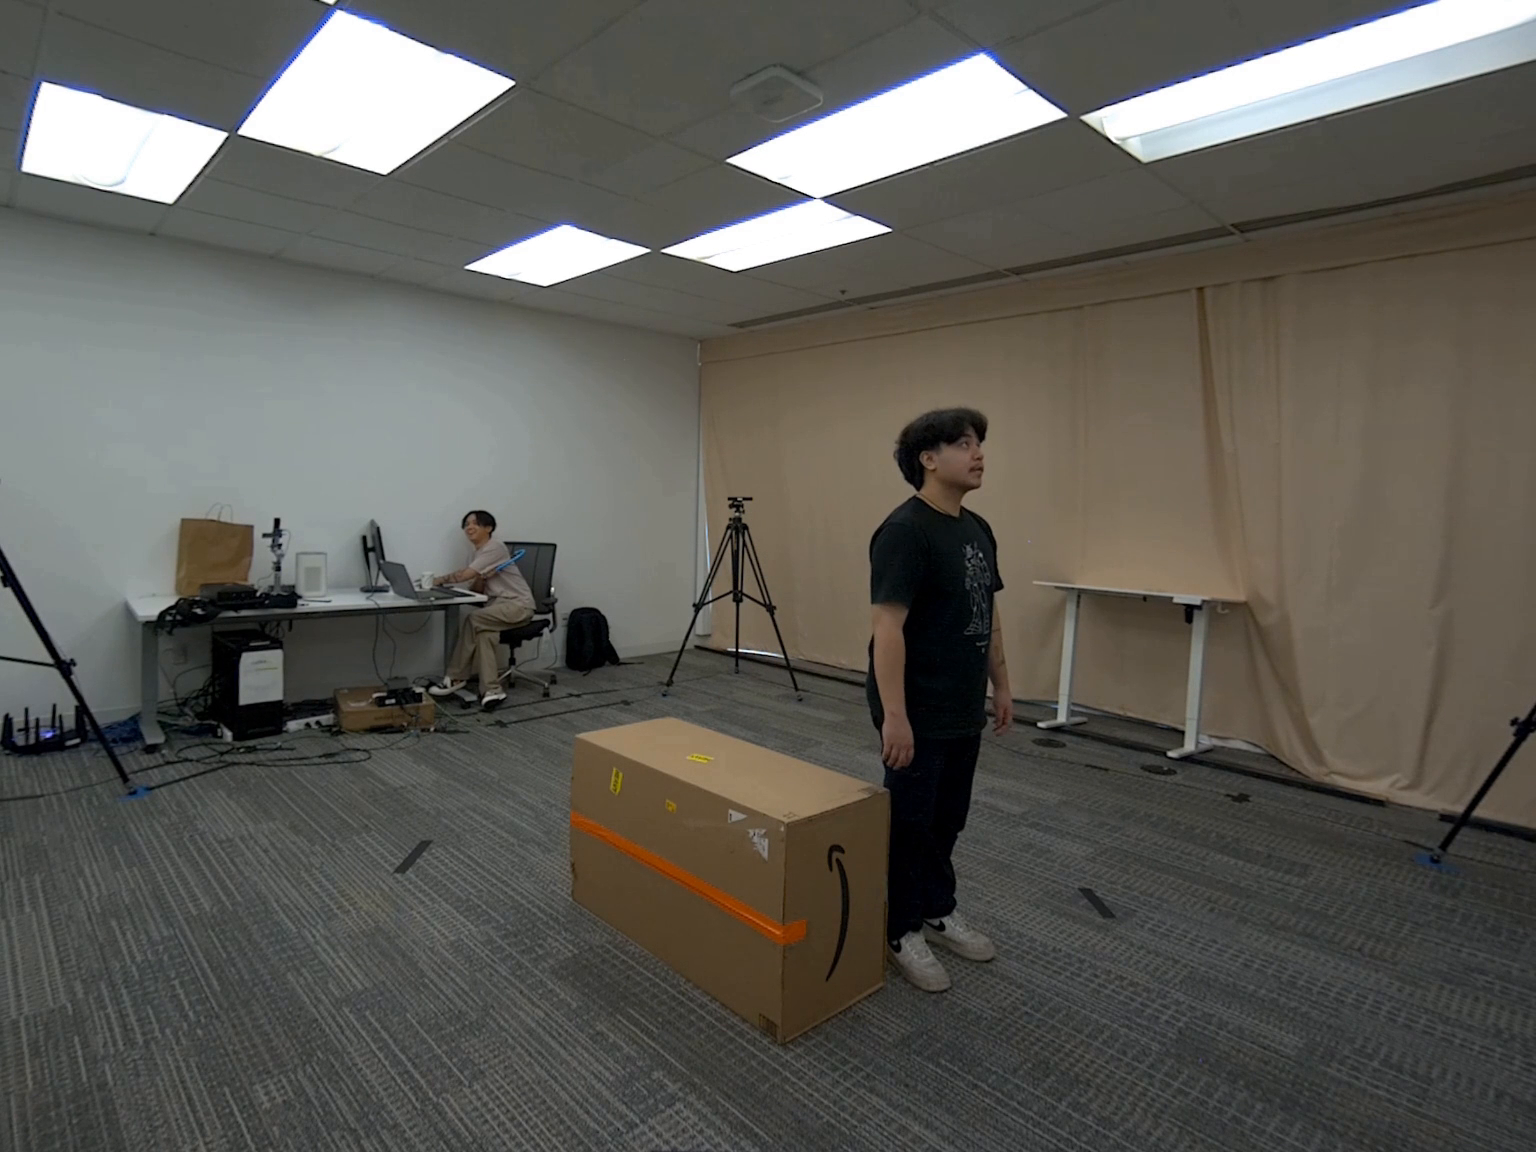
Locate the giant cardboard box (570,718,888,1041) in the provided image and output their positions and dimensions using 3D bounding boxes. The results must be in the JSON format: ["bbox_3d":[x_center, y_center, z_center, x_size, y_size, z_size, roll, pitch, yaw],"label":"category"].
[{"bbox_3d":[-0.174,0.865,2.645,0.437,0.582,1.053,-3,6,-43],"label":"giant cardboard box"}]
